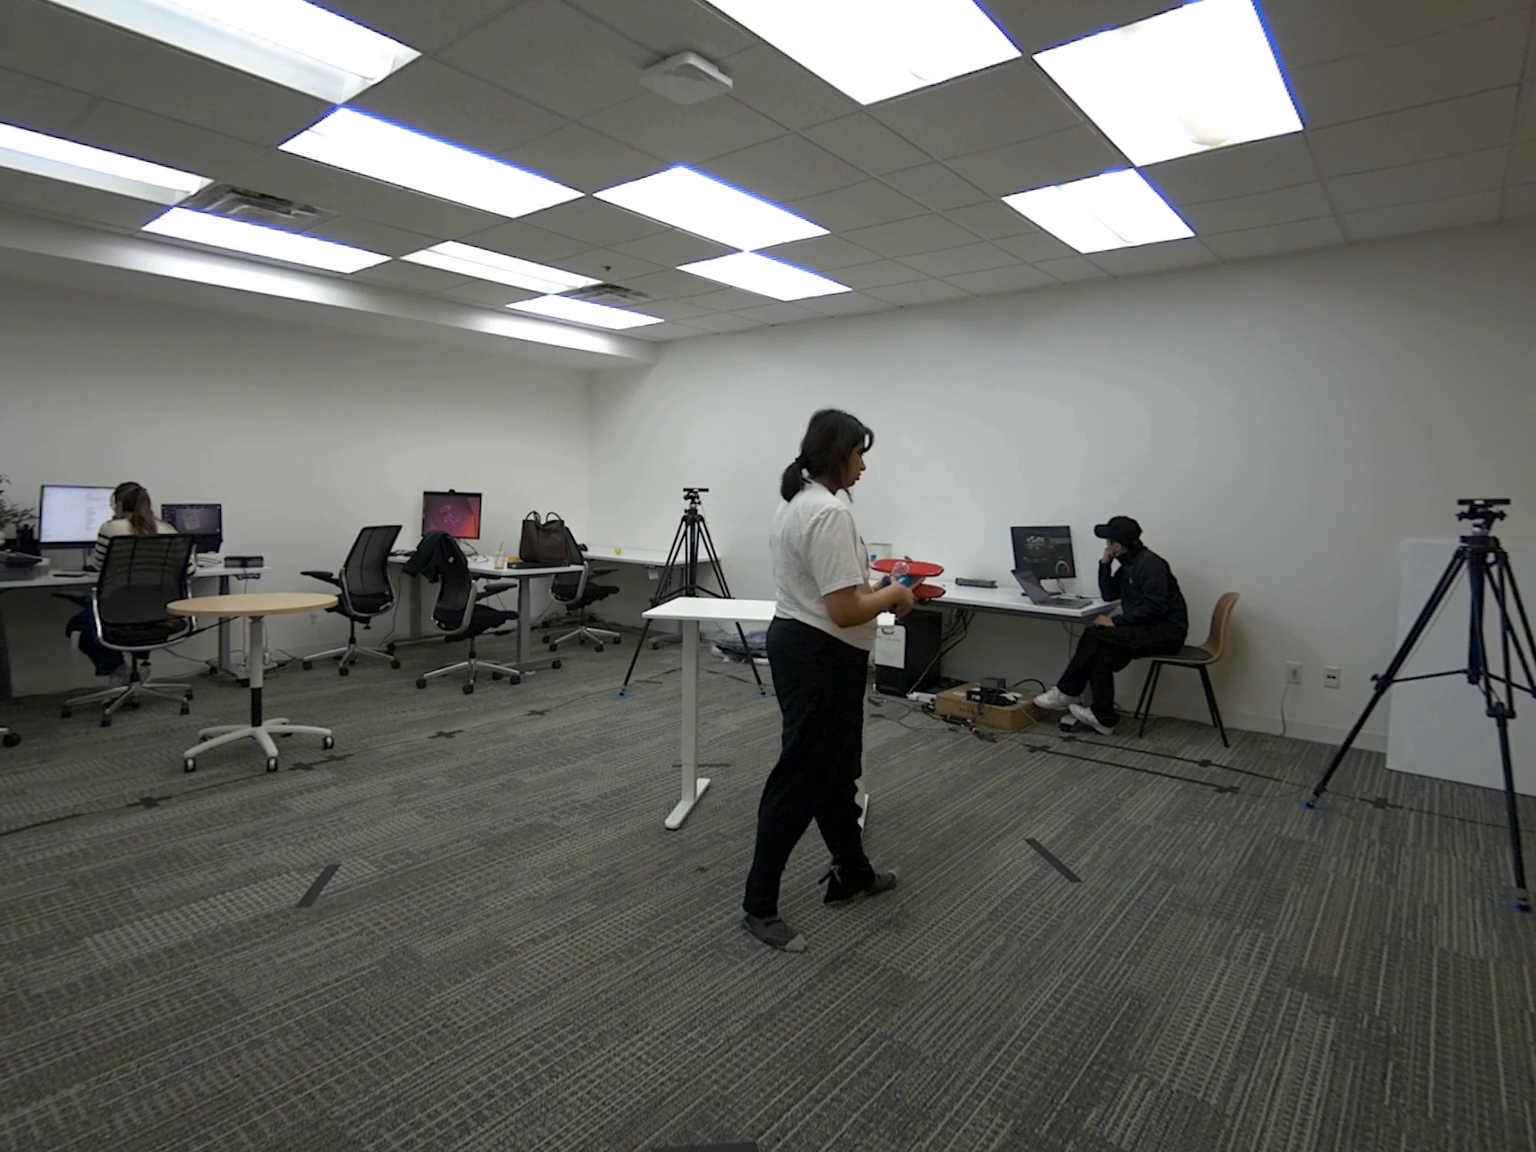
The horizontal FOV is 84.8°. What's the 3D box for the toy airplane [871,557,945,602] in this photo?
[{"bbox_3d":[0.472,0.034,2.837,0.253,0.155,0.259,2,10,6],"label":"toy airplane"}]
